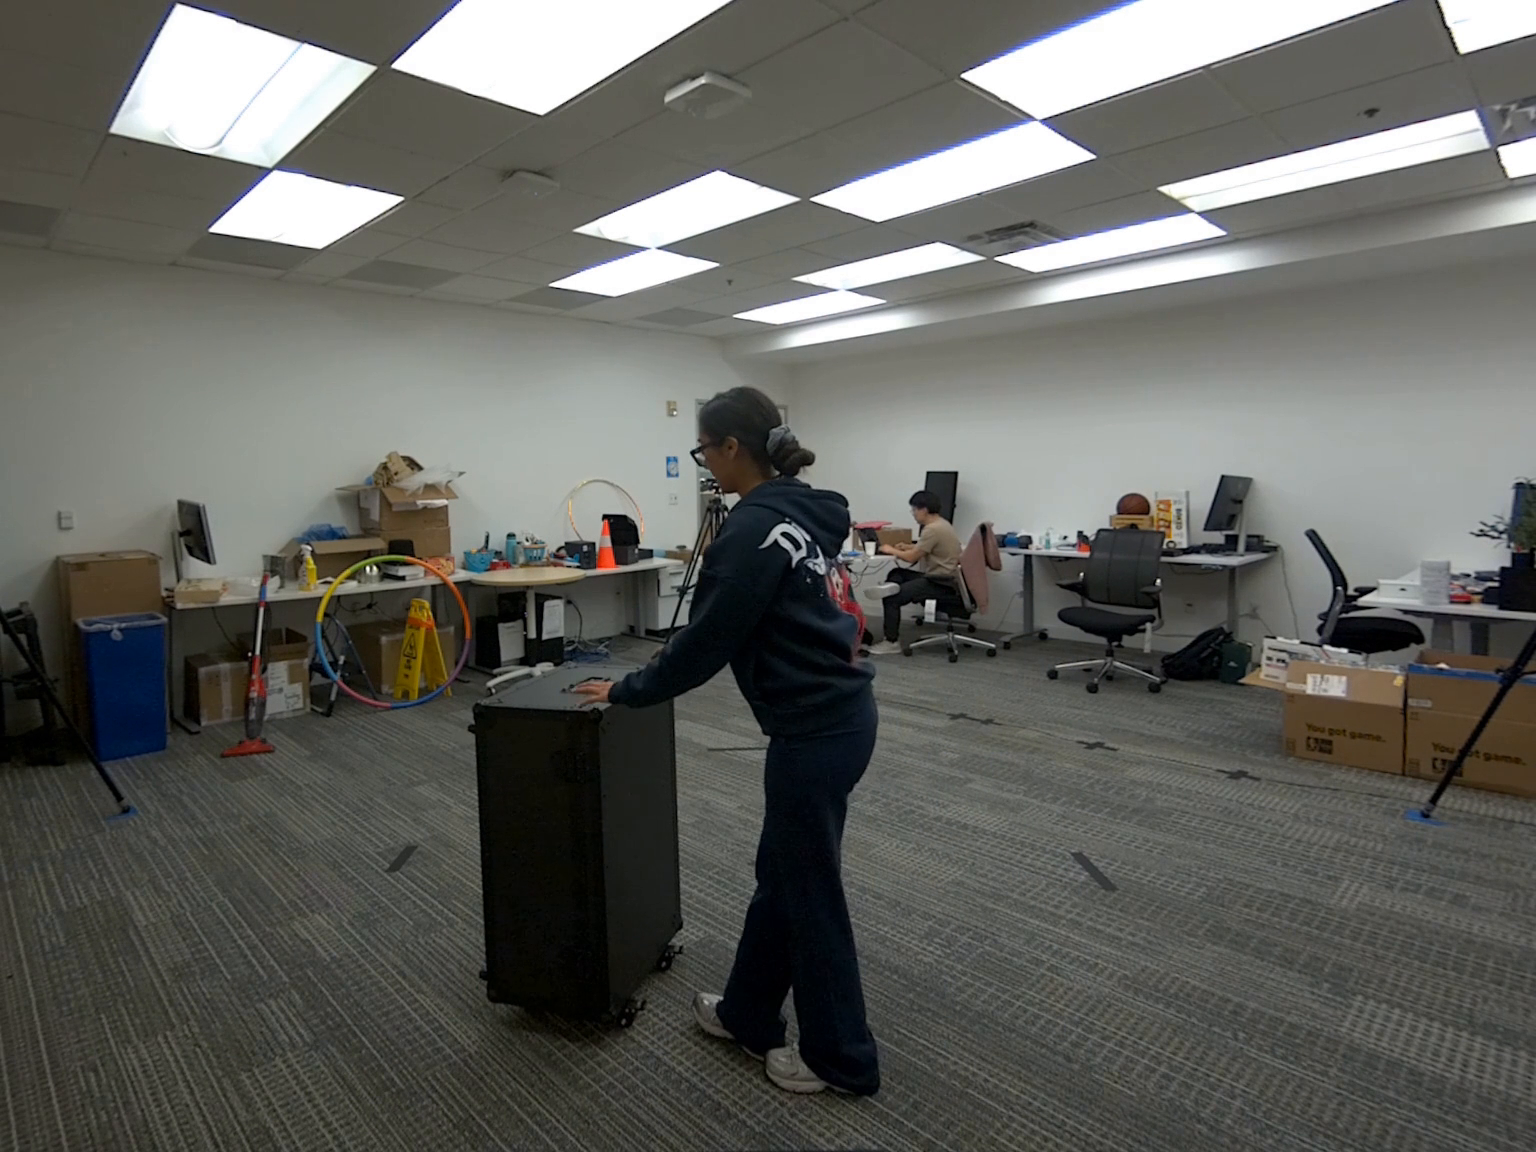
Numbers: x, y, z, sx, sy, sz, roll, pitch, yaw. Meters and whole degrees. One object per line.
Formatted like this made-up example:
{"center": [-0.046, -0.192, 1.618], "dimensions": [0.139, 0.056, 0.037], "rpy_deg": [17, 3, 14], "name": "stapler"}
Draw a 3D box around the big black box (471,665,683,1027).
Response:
{"center": [-0.510, 0.716, 2.346], "dimensions": [0.403, 0.859, 0.513], "rpy_deg": [-1, 3, 19], "name": "big black box"}
